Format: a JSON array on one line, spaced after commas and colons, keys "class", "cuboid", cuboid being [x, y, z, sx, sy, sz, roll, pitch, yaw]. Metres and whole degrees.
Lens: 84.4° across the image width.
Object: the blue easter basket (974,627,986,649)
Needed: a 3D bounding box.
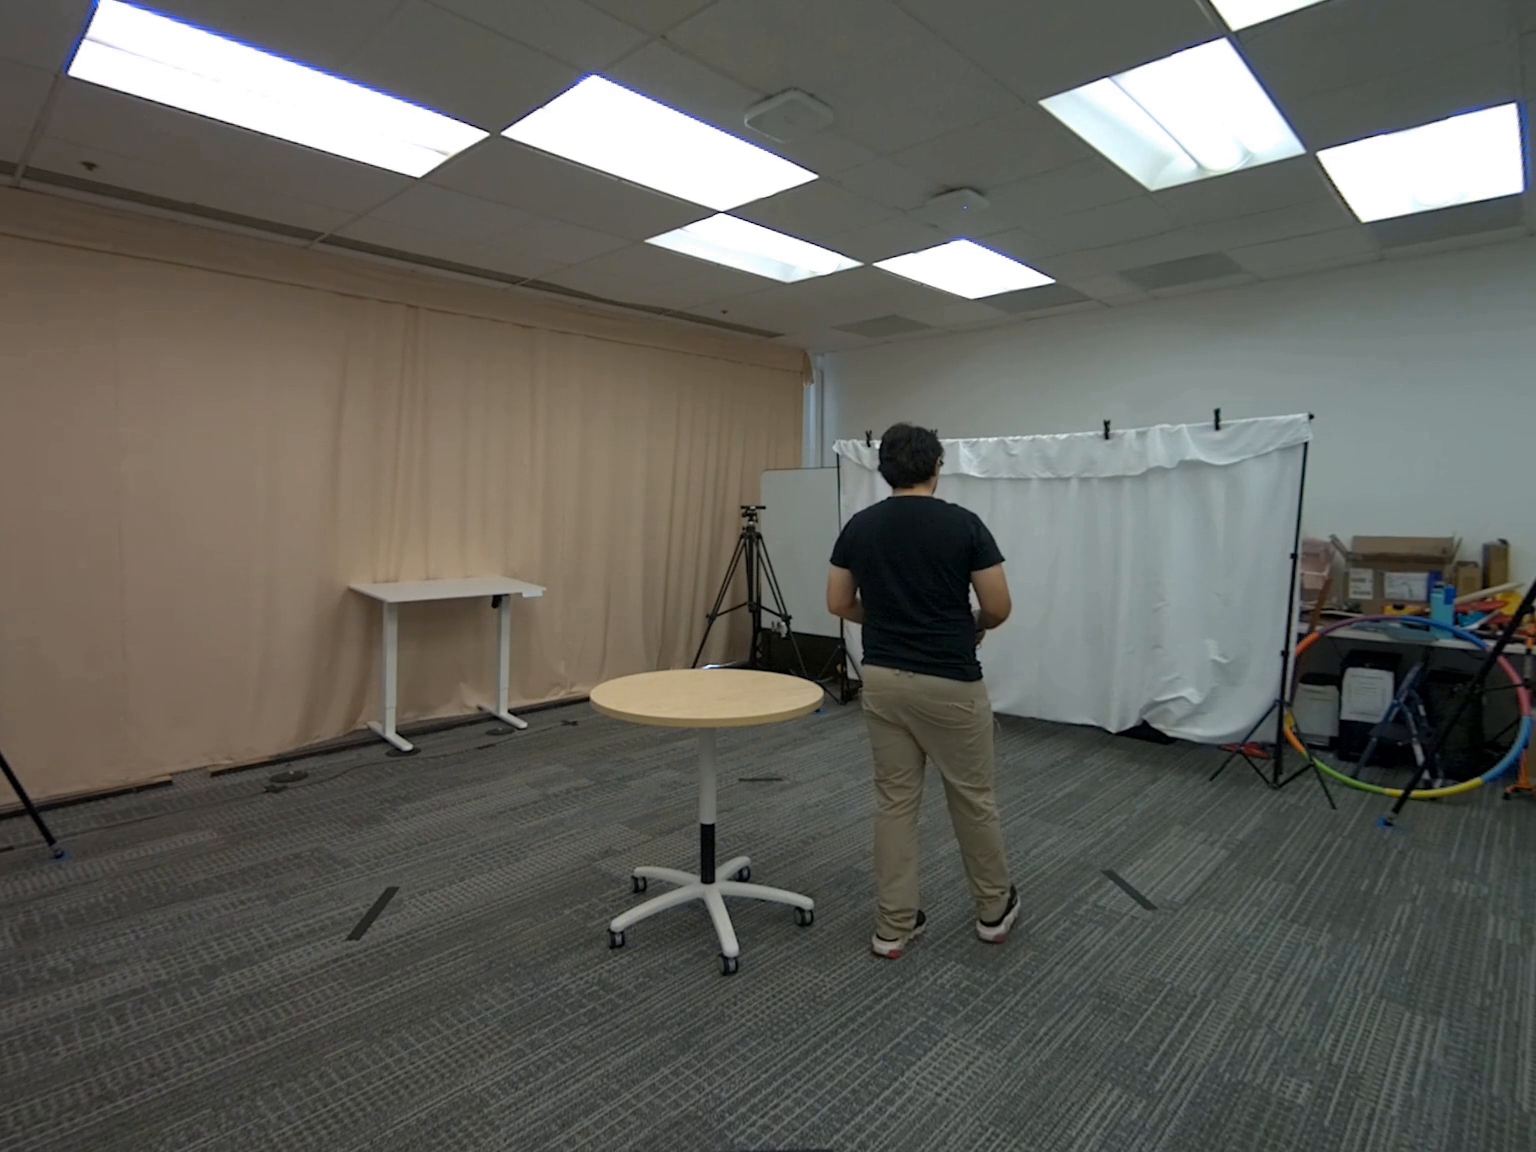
[{"class": "blue easter basket", "cuboid": [0.632, 0.223, 2.940, 0.243, 0.156, 0.244, -1, 2, -2]}]
